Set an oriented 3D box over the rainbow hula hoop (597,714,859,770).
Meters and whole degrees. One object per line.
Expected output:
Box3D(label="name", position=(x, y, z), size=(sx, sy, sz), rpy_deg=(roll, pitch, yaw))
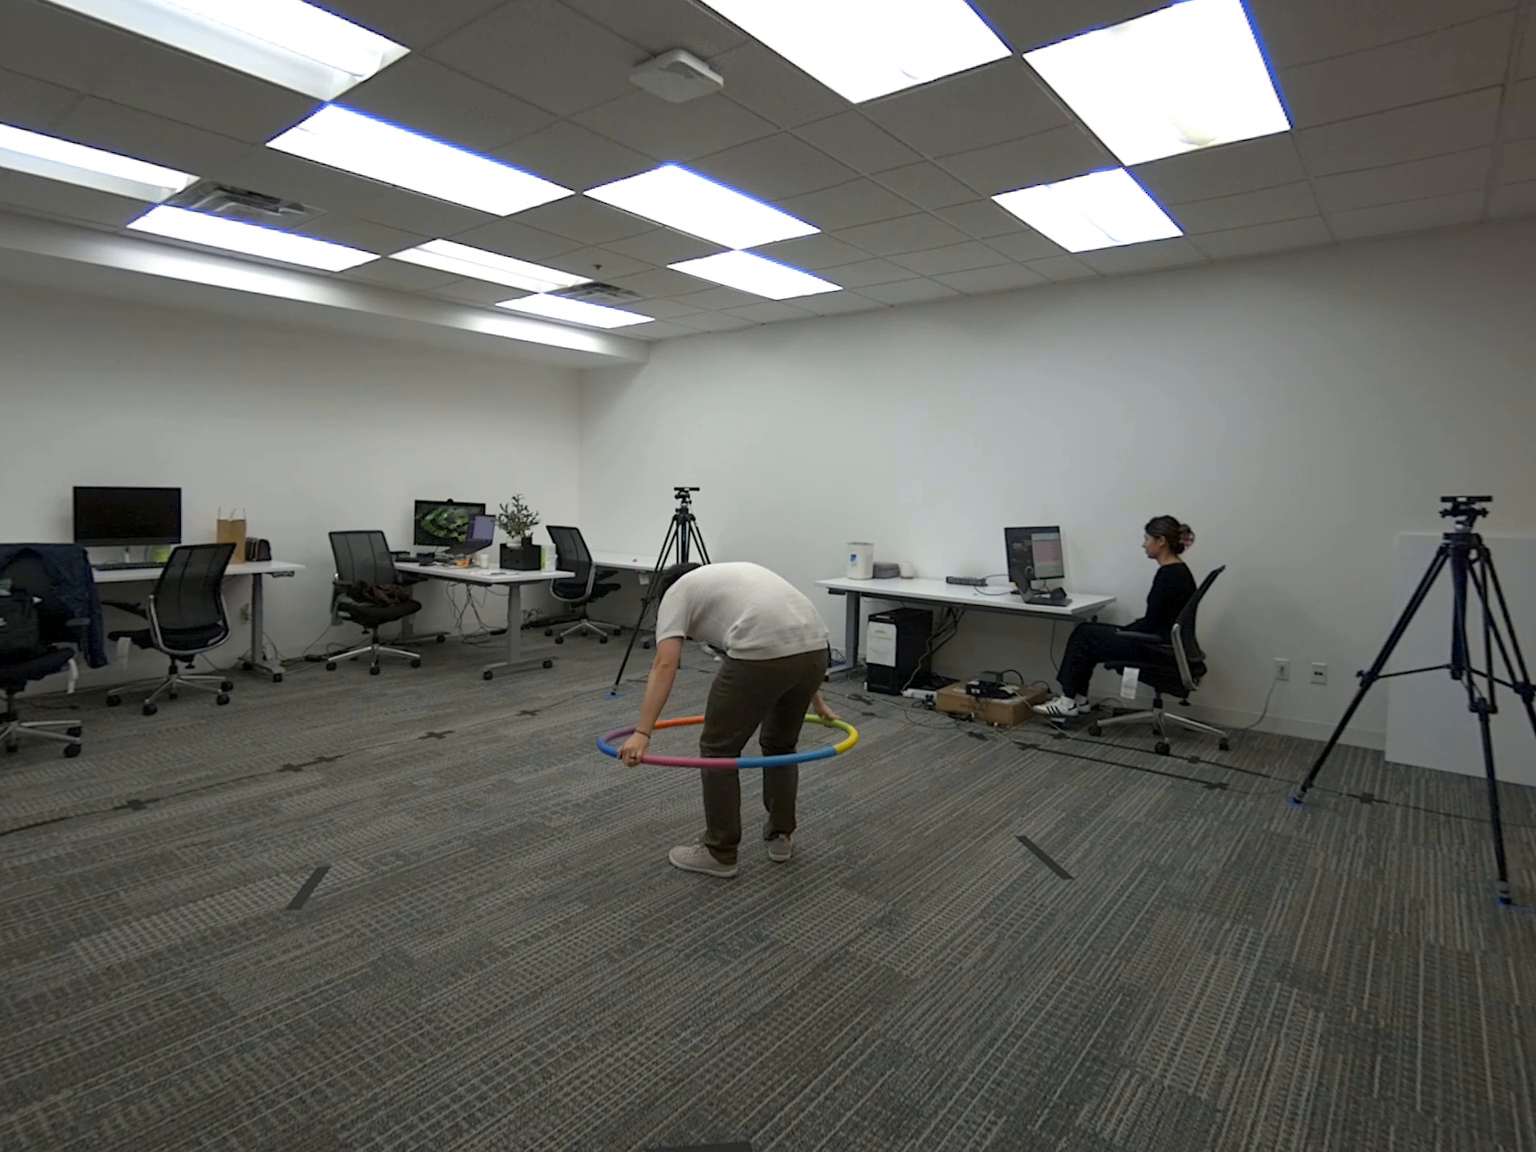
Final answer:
Box3D(label="rainbow hula hoop", position=(-0.167, 0.603, 3.225), size=(0.978, 0.035, 0.978), rpy_deg=(-2, 0, -2))
